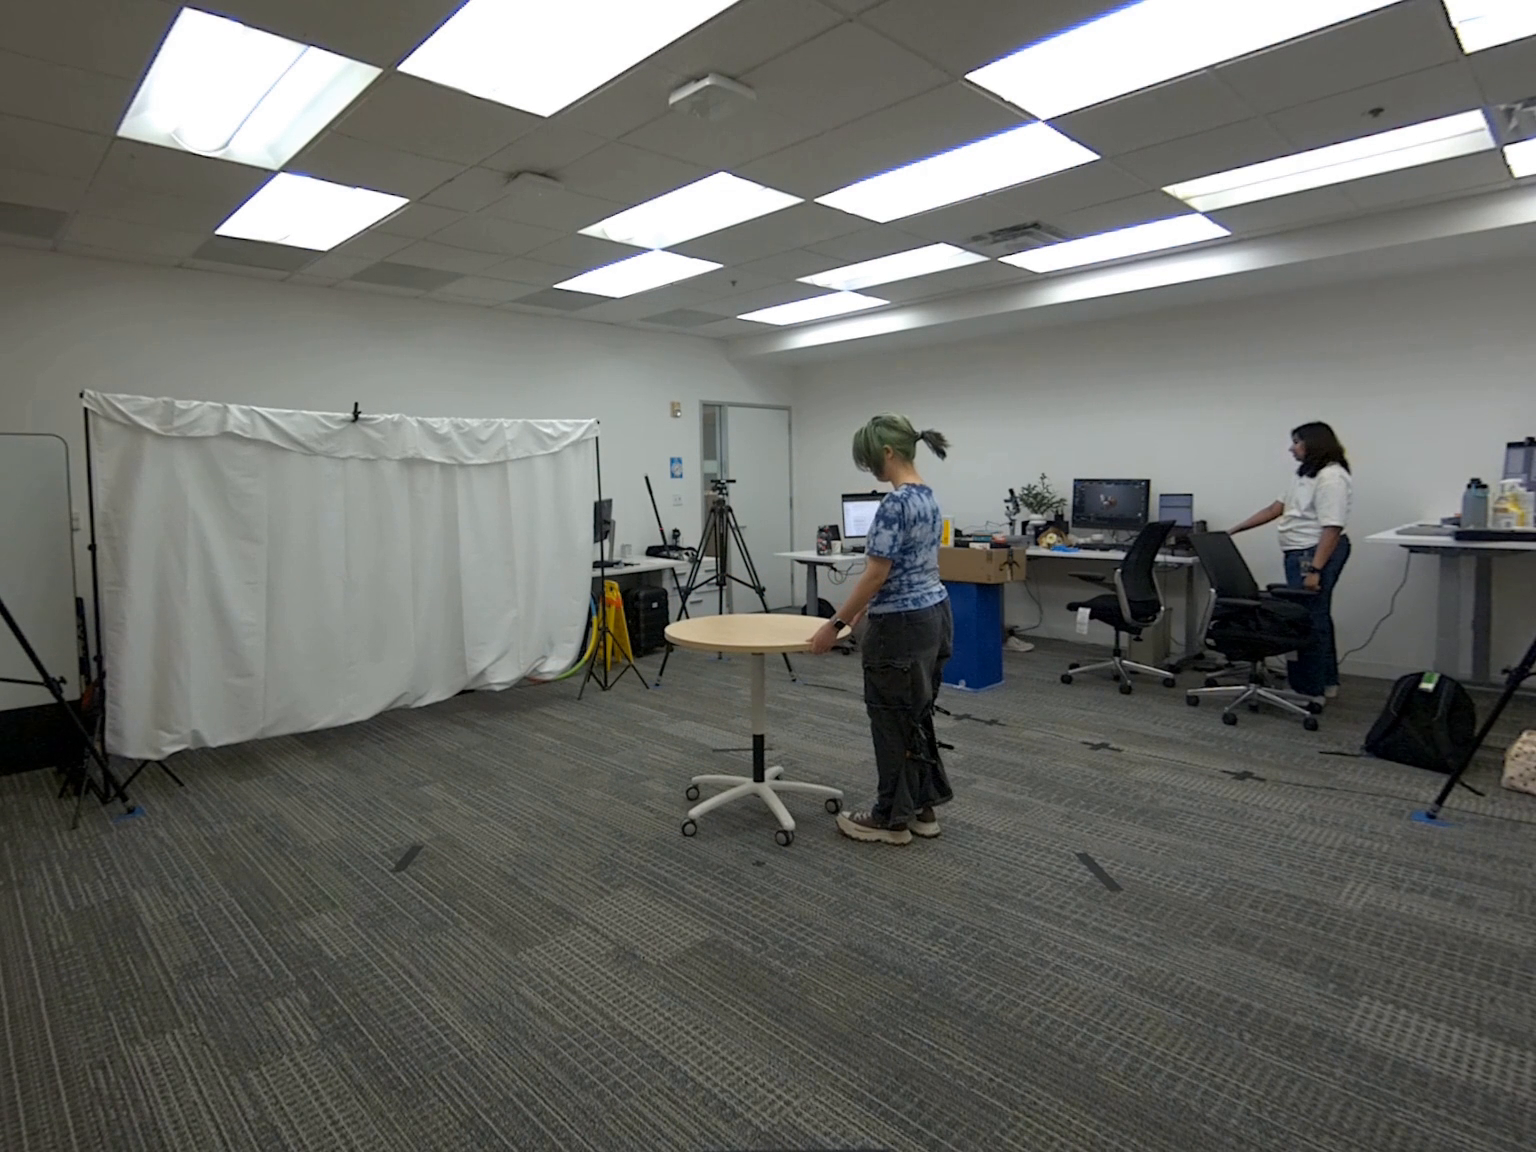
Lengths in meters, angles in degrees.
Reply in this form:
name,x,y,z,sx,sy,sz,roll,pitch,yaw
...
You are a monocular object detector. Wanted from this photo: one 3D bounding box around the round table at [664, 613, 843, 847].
name,x,y,z,sx,sy,sz,roll,pitch,yaw
round table,-0.051,0.608,3.549,0.763,0.791,0.767,-1,4,-2
